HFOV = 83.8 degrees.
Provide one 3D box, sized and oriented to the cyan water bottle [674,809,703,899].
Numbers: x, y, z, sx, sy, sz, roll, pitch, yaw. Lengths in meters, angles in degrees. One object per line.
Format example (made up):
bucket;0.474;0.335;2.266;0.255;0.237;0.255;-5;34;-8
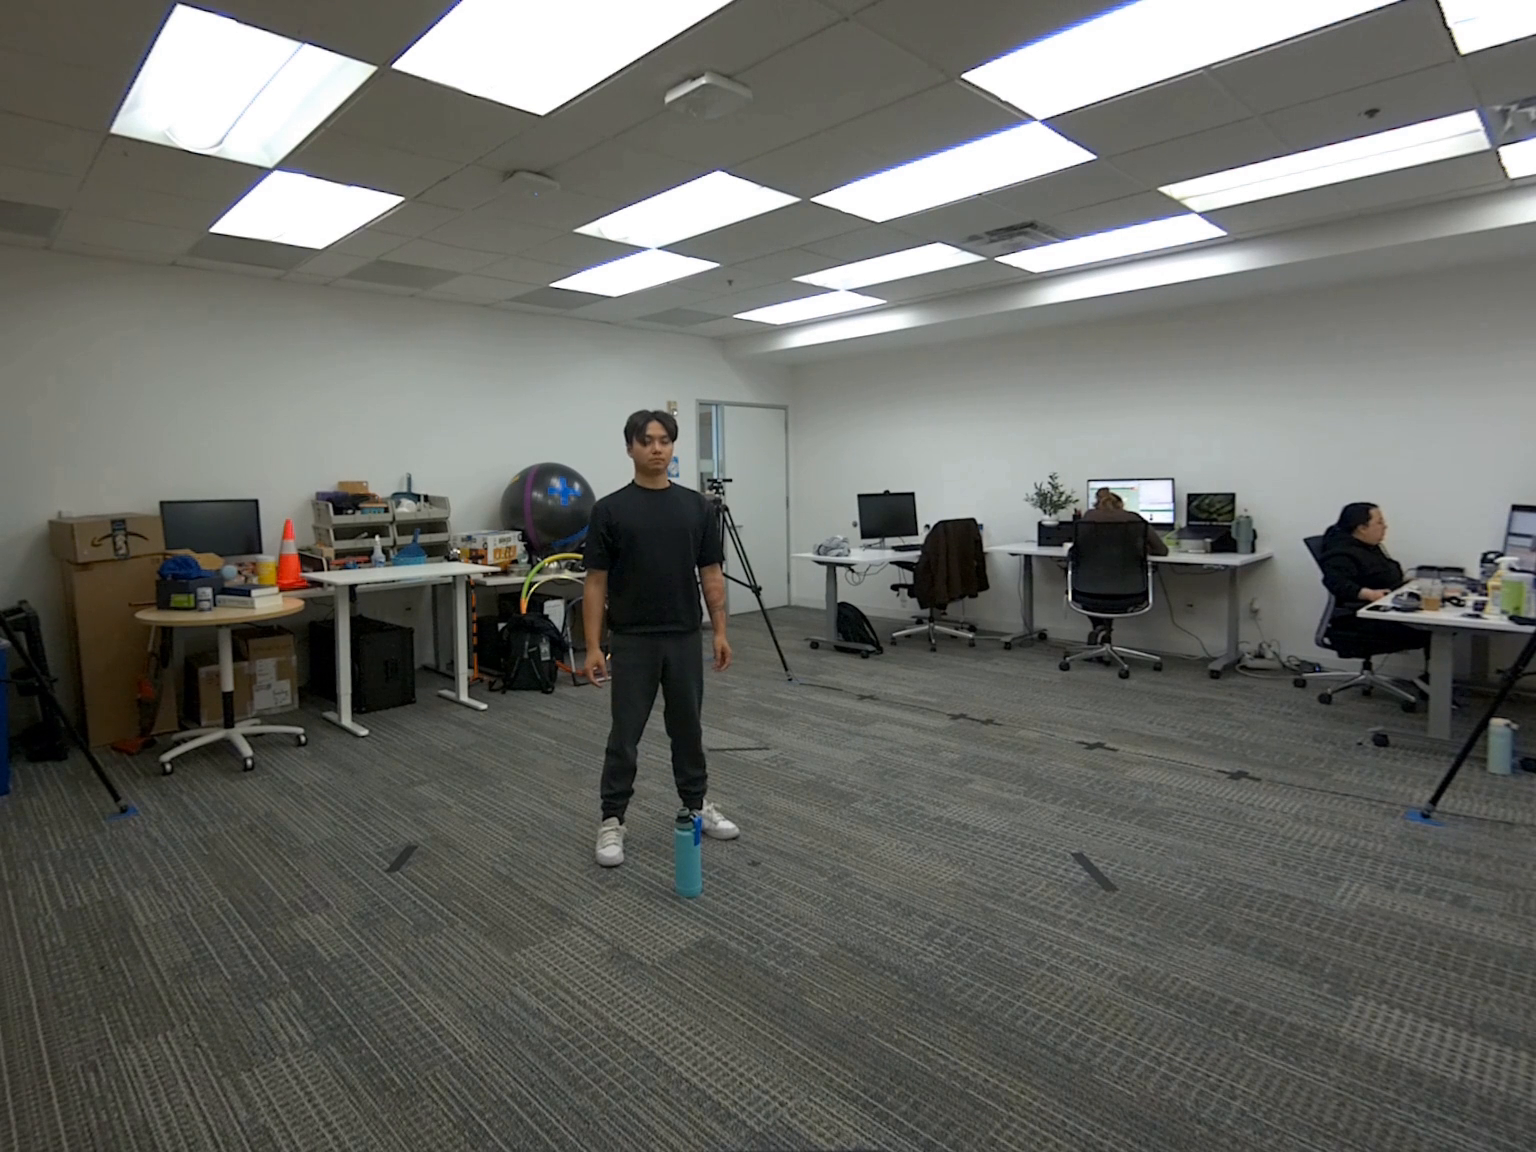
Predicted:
cyan water bottle;-0.274;0.941;2.897;0.092;0.282;0.093;-1;4;-2
